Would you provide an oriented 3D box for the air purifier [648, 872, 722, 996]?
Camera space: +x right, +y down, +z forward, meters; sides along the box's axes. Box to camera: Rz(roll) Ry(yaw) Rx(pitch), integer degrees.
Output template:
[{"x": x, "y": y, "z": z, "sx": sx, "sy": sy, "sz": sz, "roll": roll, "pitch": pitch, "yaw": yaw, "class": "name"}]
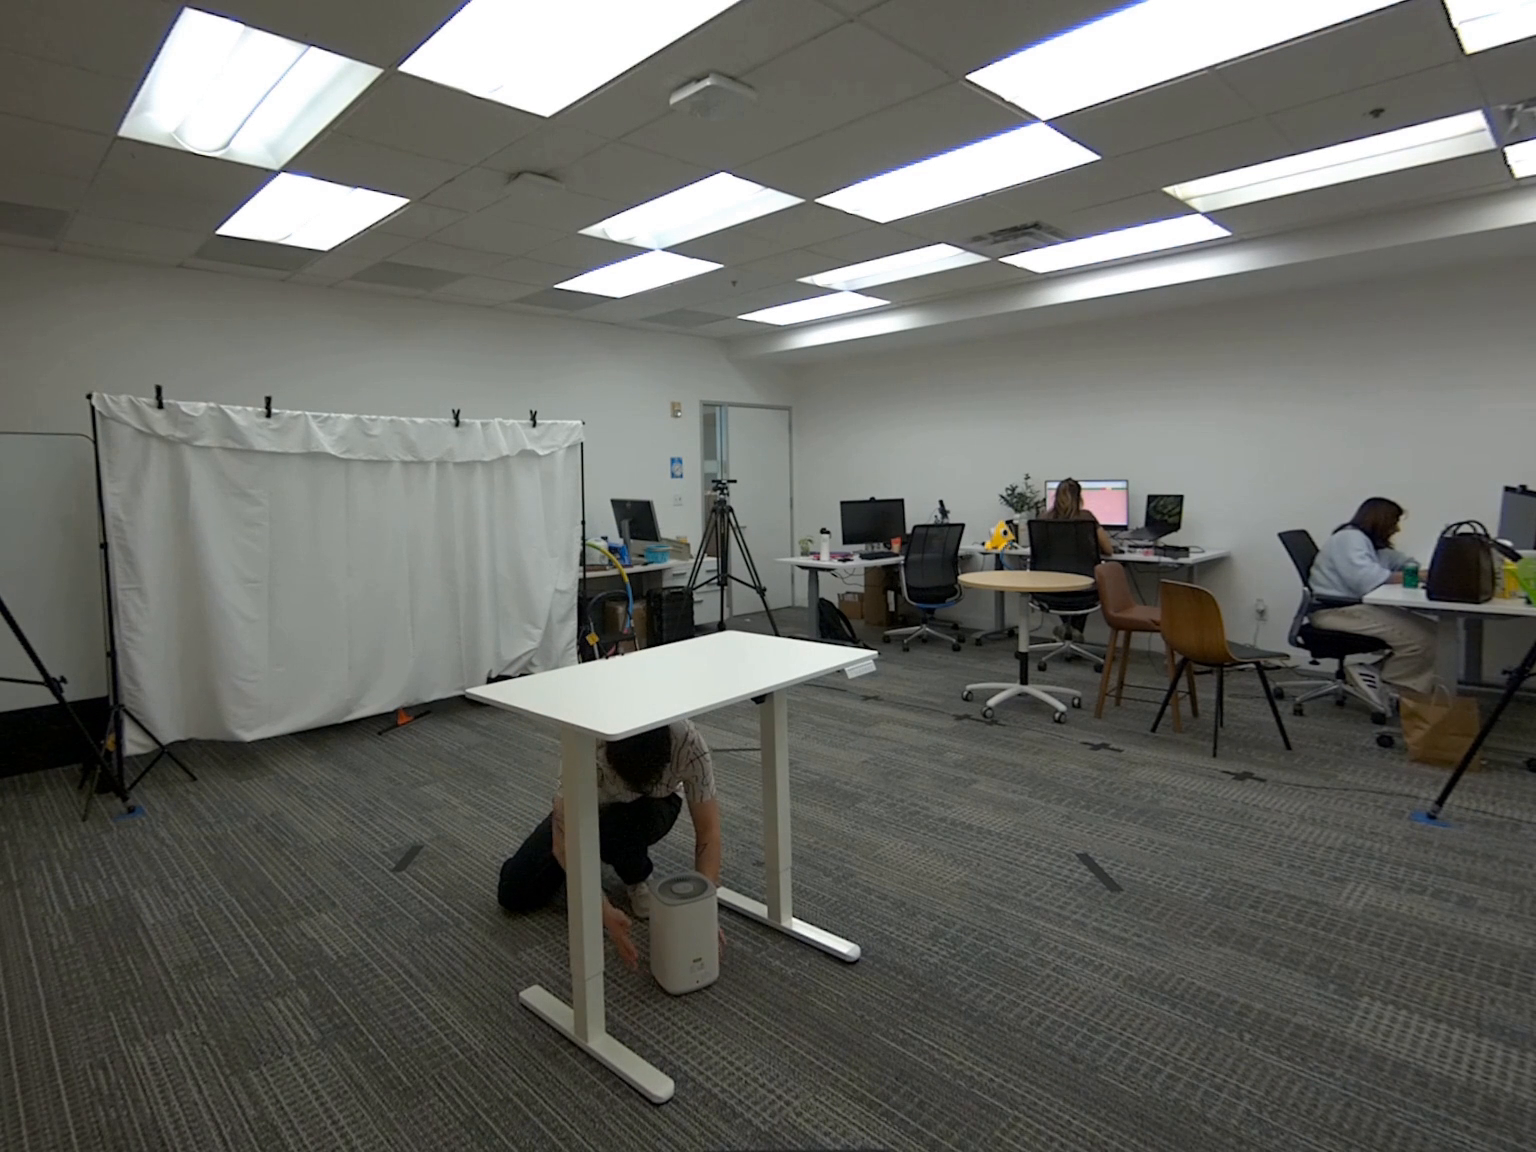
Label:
[{"x": -0.236, "y": 1.006, "z": 2.395, "sx": 0.167, "sy": 0.264, "sz": 0.176, "roll": -5, "pitch": 5, "yaw": -31, "class": "air purifier"}]
